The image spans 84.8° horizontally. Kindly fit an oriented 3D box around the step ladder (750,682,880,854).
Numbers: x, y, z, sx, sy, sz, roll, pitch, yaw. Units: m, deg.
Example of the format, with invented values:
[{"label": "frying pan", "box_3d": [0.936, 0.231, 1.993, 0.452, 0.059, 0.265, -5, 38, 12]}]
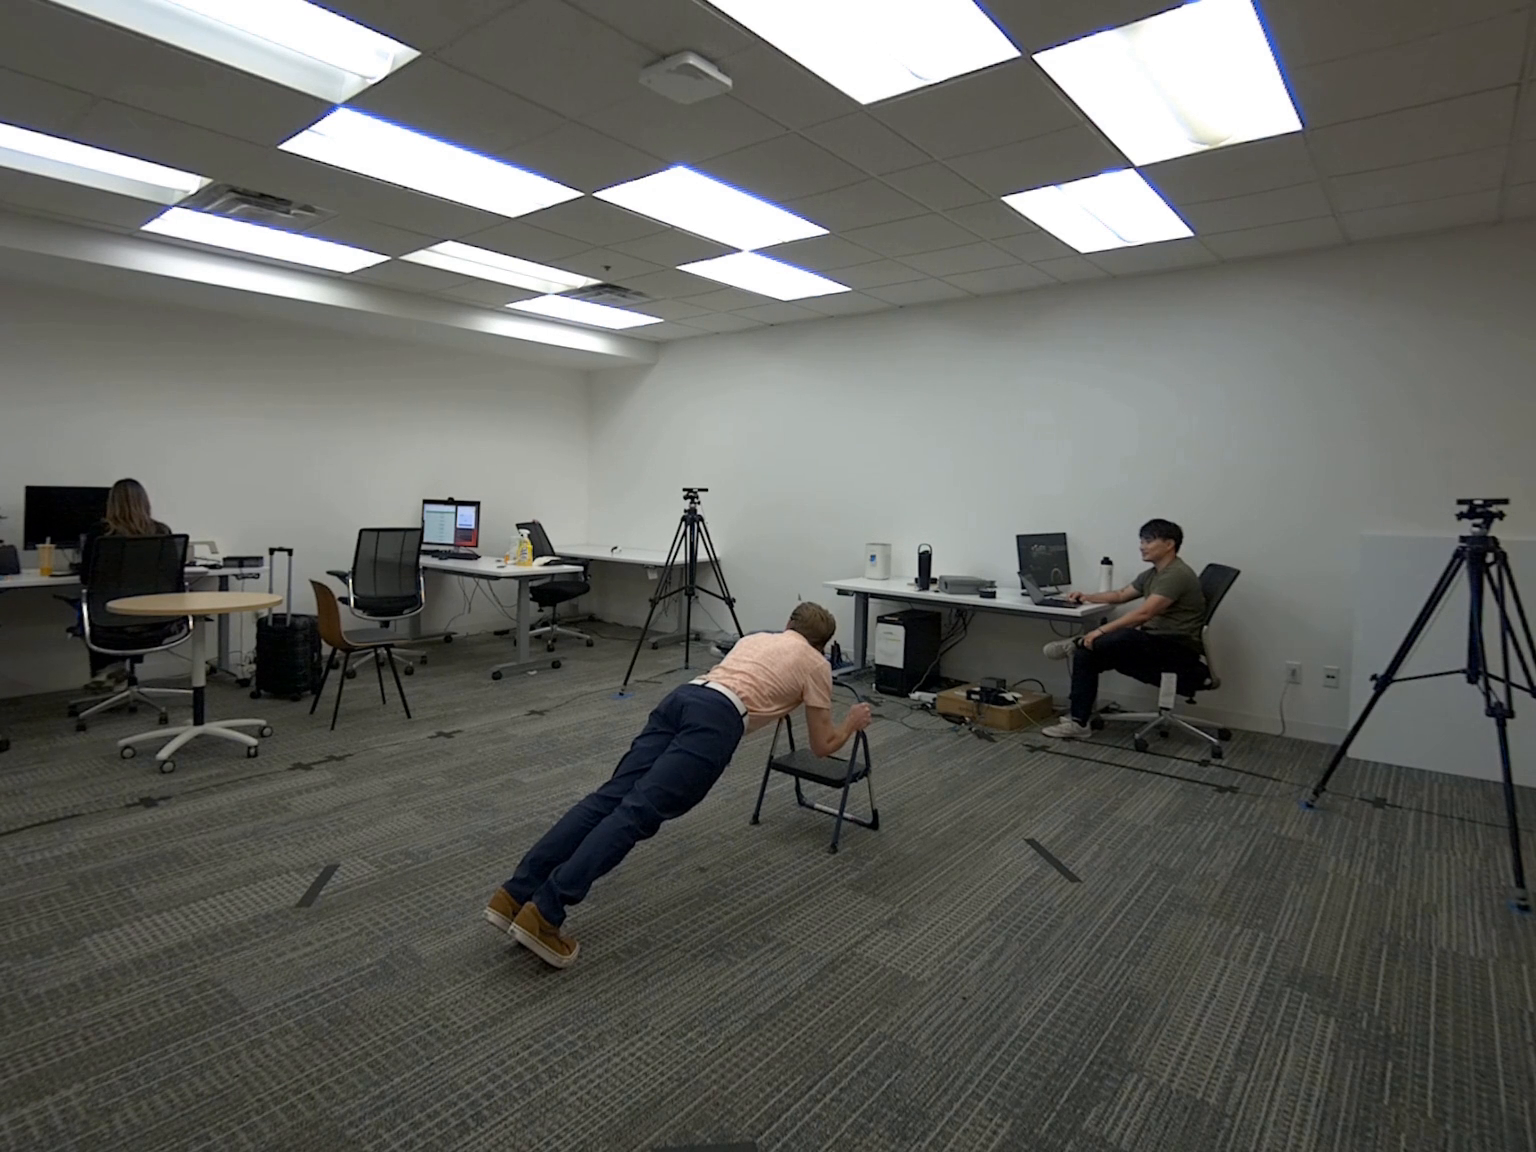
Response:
[{"label": "step ladder", "box_3d": [0.195, 0.738, 3.524, 0.445, 0.604, 0.339, 4, 4, 40]}]
